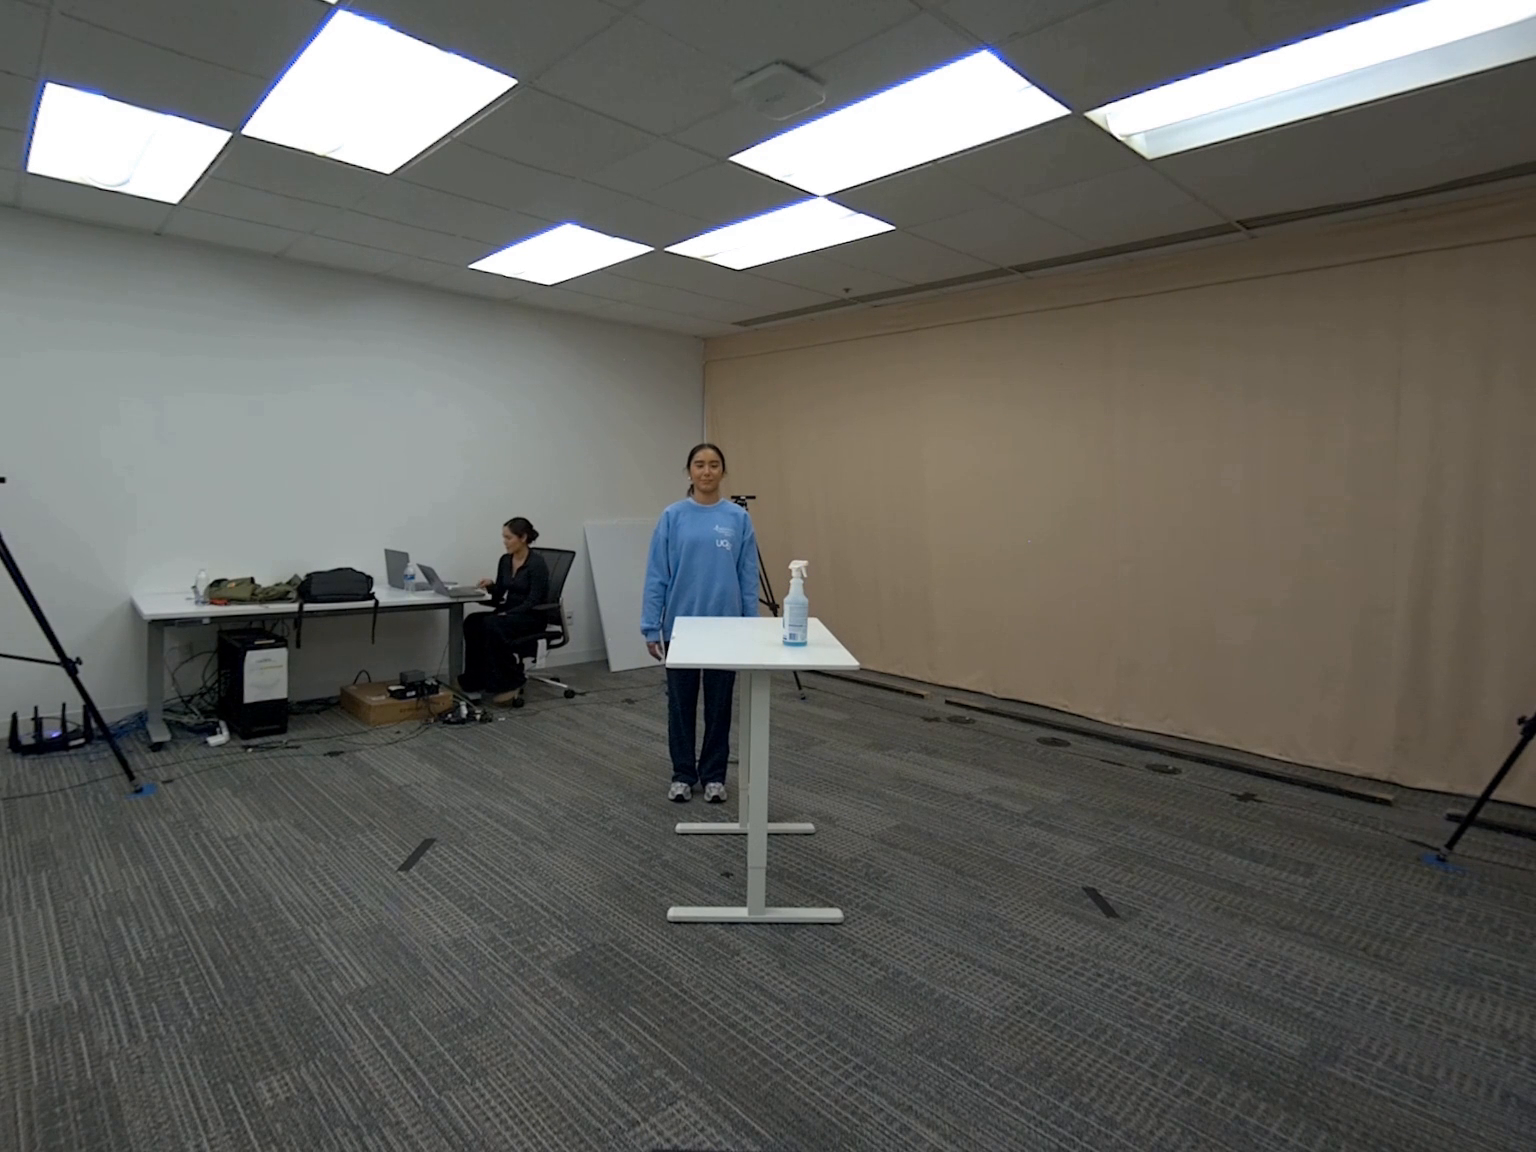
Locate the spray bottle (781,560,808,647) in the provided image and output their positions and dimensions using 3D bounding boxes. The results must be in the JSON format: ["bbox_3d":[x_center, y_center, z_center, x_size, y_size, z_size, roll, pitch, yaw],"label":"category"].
[{"bbox_3d":[0.095,0.097,2.930,0.086,0.296,0.091,-1,4,-12],"label":"spray bottle"}]
